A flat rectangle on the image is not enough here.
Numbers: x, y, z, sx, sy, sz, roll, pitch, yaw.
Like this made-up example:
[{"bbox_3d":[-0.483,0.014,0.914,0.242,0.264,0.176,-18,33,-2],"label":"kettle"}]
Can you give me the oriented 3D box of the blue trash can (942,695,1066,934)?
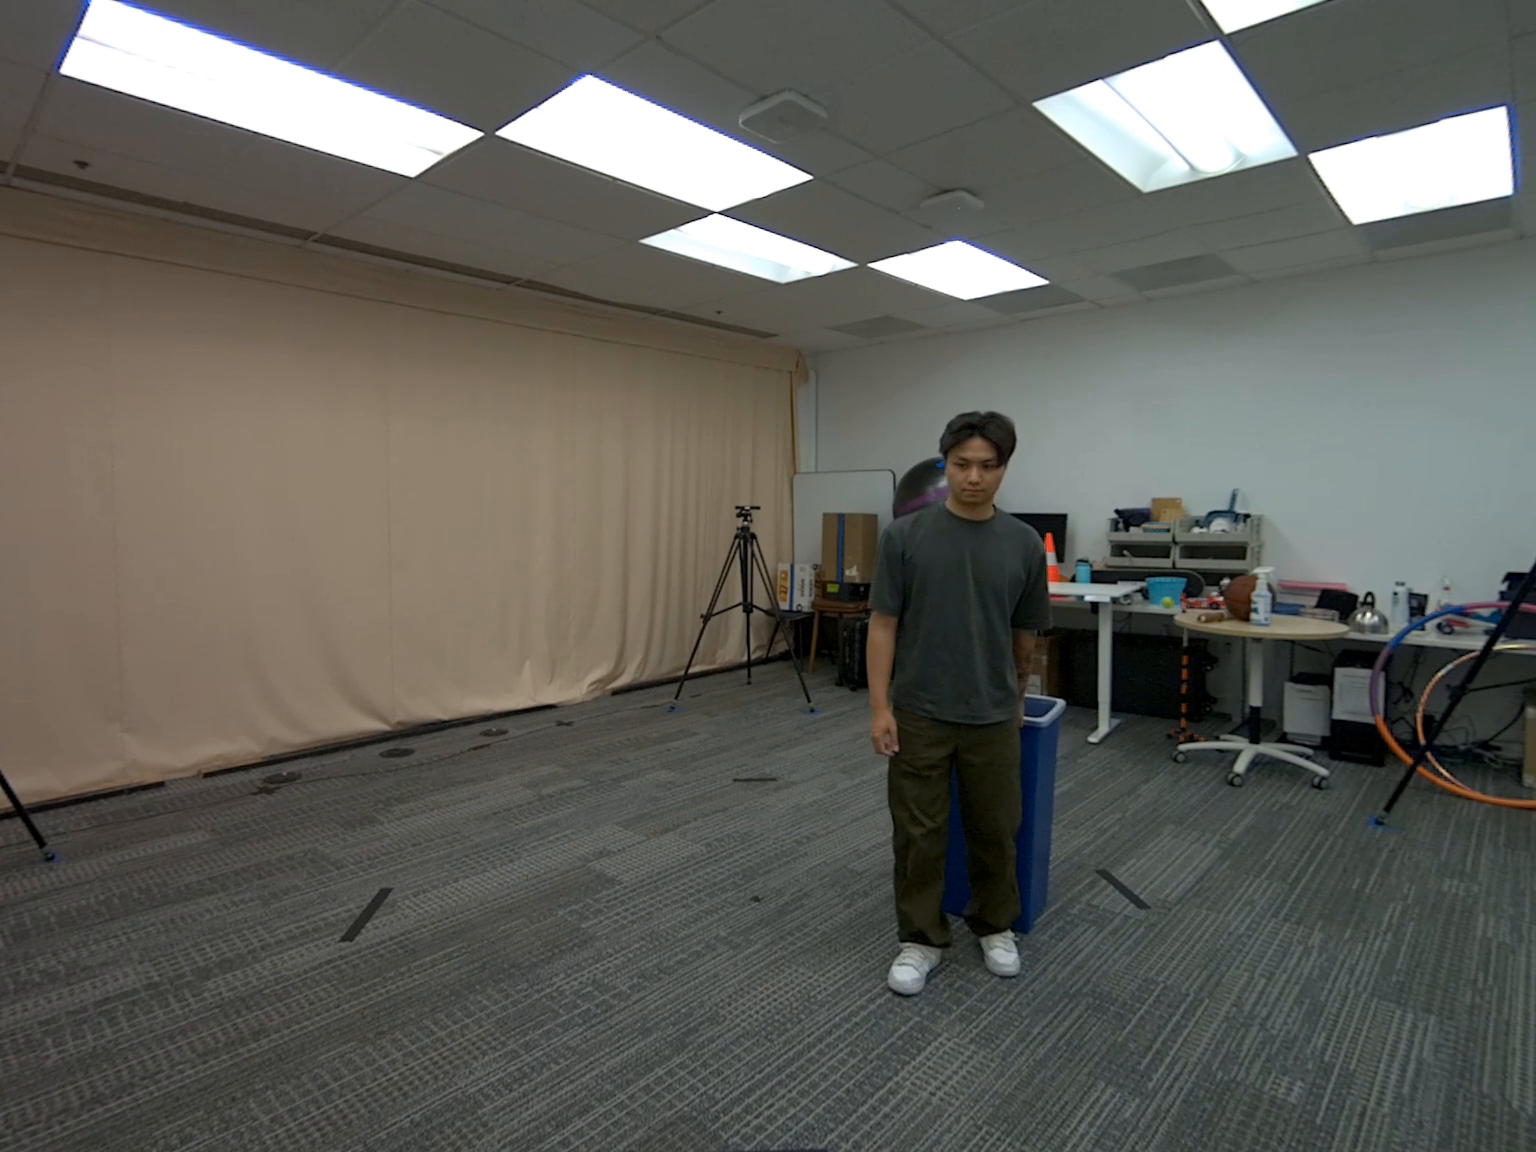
[{"bbox_3d":[0.805,0.786,2.917,0.385,0.712,0.368,2,4,29],"label":"blue trash can"}]
